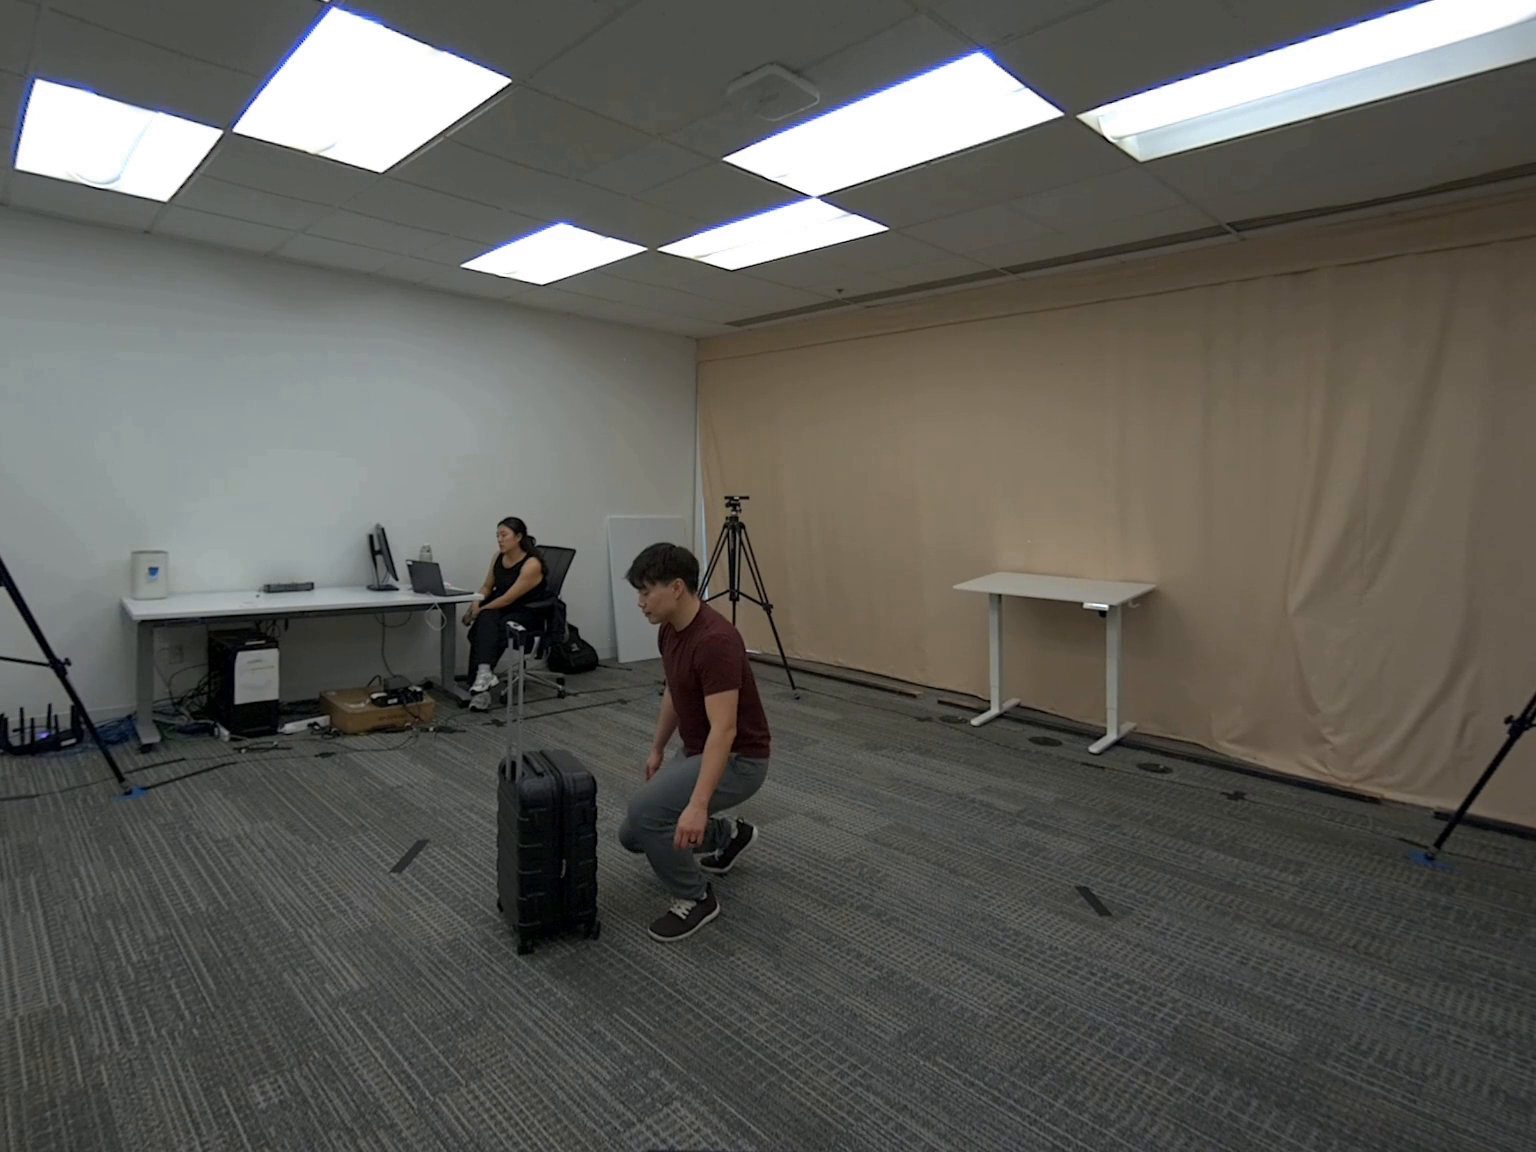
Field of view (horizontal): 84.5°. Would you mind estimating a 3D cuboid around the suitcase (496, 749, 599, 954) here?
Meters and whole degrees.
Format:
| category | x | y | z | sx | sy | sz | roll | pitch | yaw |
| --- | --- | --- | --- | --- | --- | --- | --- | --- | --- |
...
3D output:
| category | x | y | z | sx | sy | sz | roll | pitch | yaw |
| --- | --- | --- | --- | --- | --- | --- | --- | --- | --- |
| suitcase | -0.705 | 0.647 | 2.679 | 0.252 | 0.976 | 0.392 | 0 | 5 | -27 |
